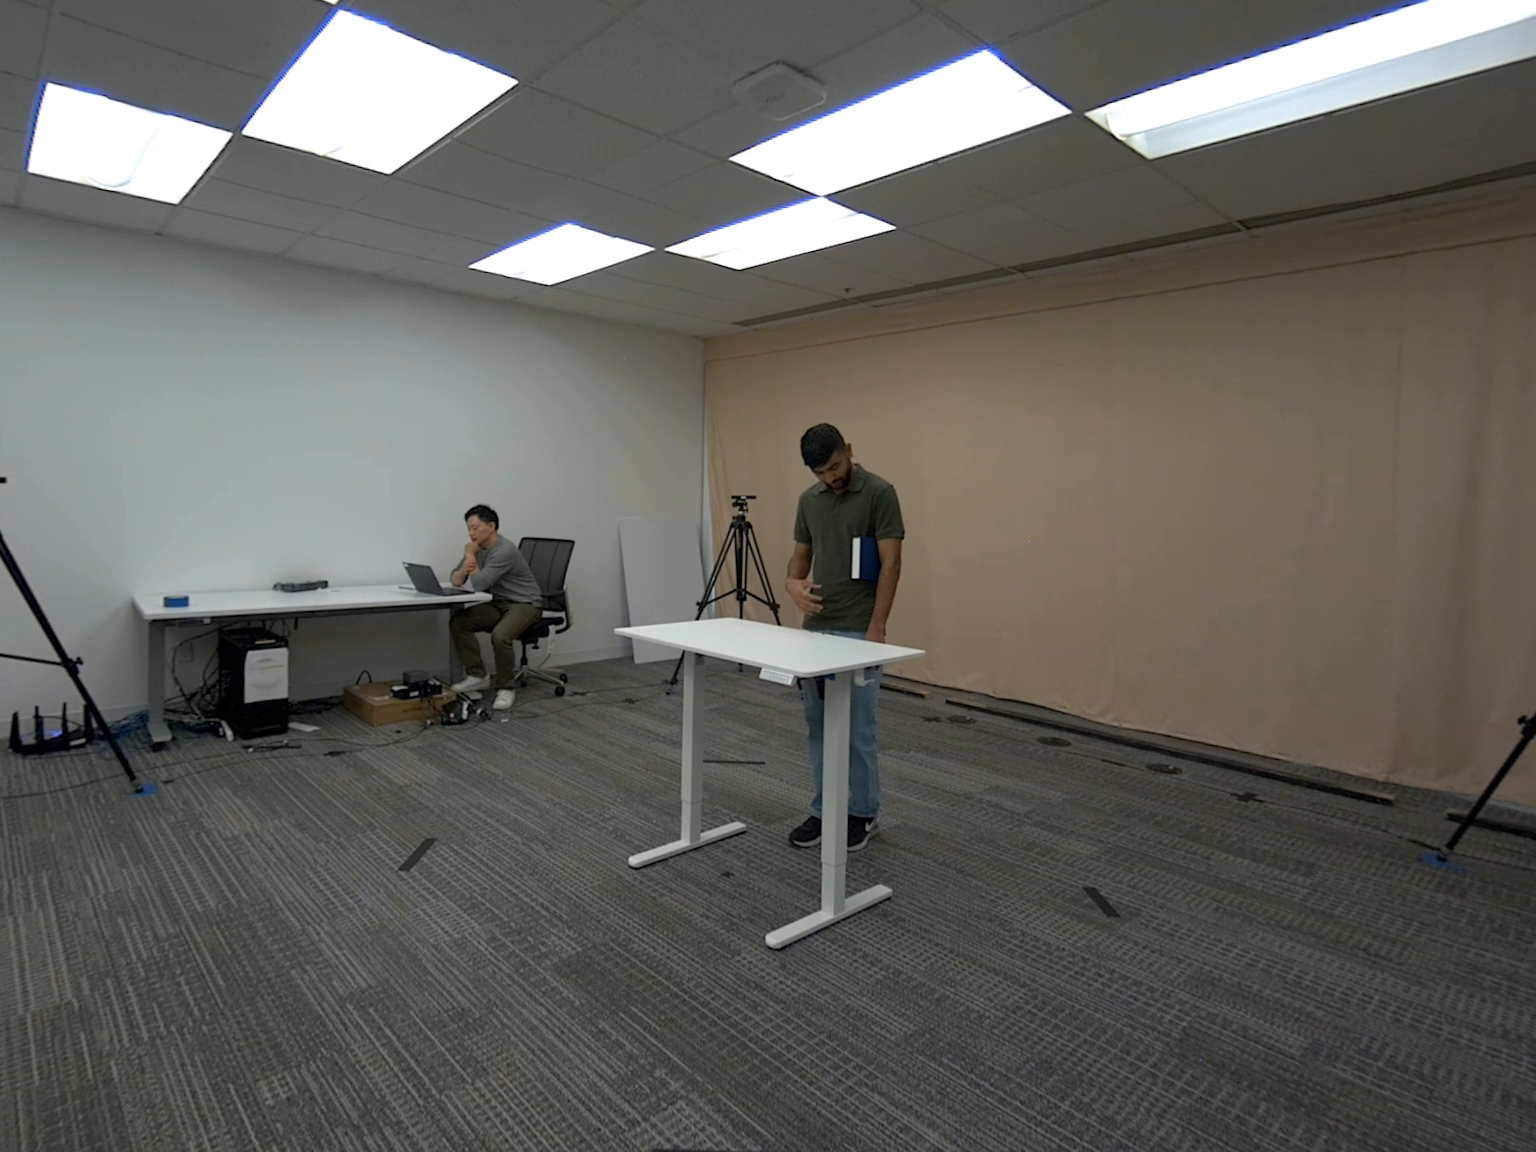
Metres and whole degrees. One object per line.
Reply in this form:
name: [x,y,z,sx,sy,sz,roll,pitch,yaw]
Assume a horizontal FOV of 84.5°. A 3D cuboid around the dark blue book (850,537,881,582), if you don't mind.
dark blue book: [0.415,-0.066,3.306,0.239,0.164,0.046,3,-3,-40]
